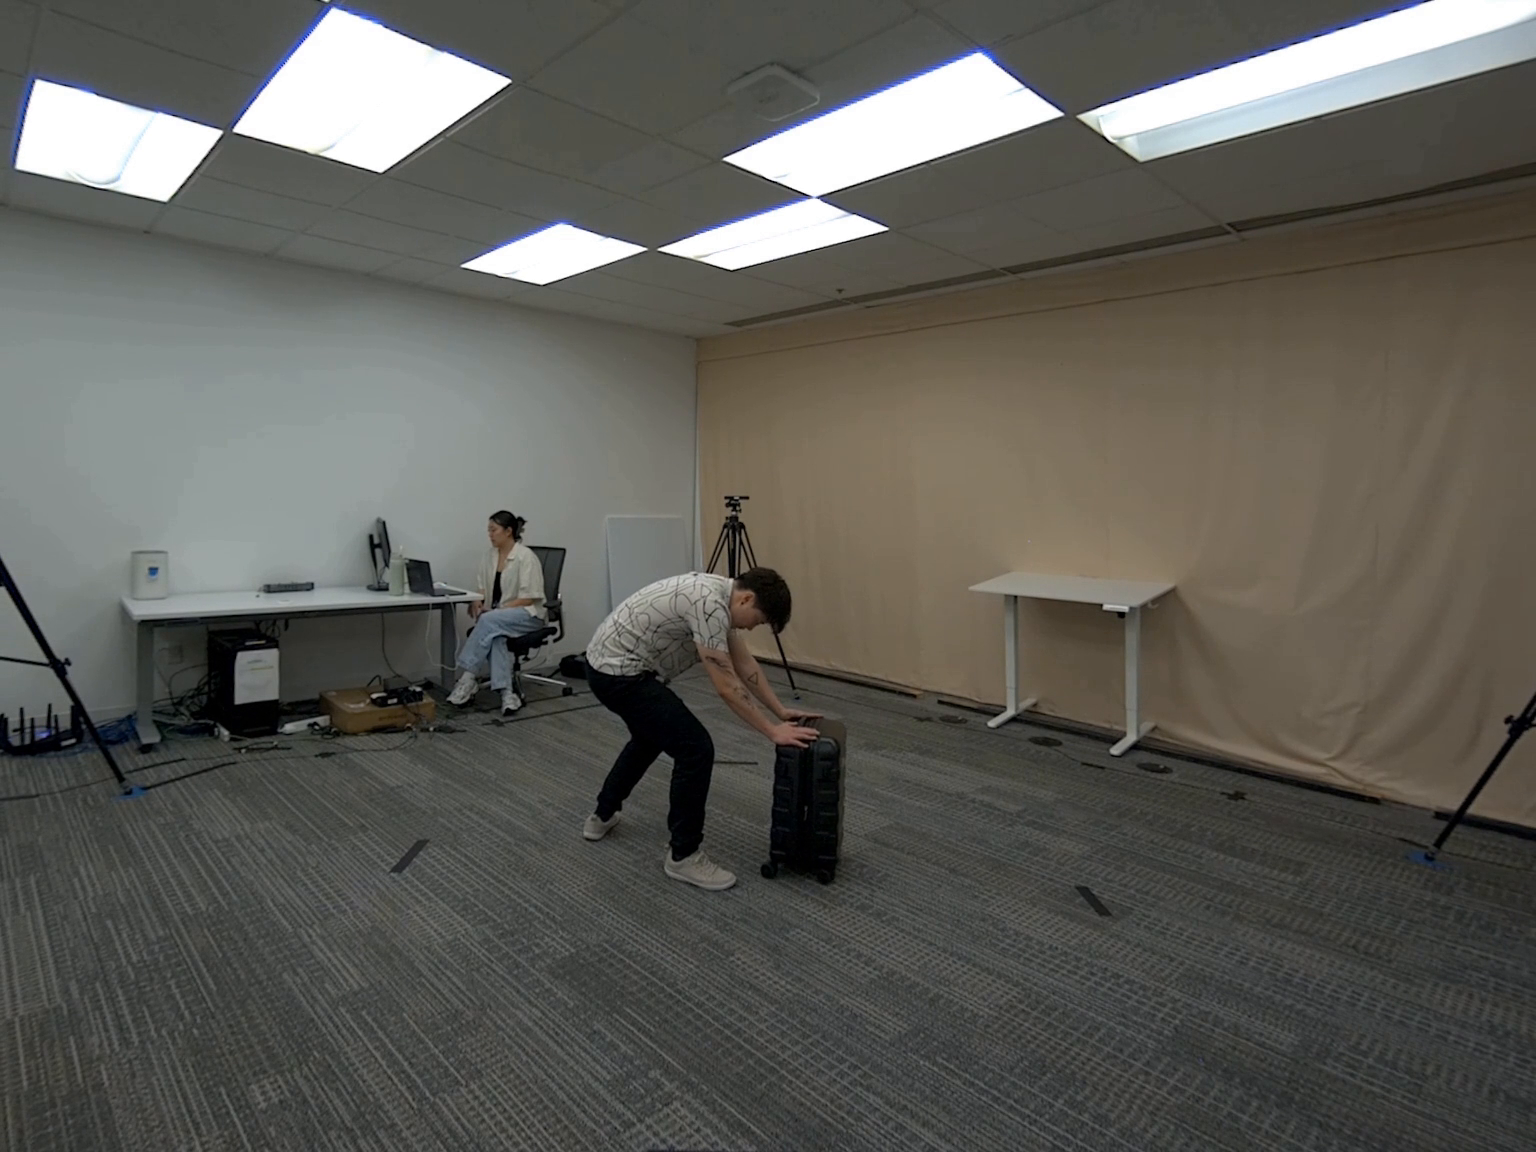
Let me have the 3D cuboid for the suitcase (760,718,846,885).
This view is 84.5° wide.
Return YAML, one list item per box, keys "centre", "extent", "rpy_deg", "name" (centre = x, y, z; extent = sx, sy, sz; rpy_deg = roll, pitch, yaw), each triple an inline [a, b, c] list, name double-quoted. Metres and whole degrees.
- centre: [0.147, 0.827, 3.201]
  extent: [0.251, 0.548, 0.373]
  rpy_deg: [6, 4, 11]
  name: "suitcase"
